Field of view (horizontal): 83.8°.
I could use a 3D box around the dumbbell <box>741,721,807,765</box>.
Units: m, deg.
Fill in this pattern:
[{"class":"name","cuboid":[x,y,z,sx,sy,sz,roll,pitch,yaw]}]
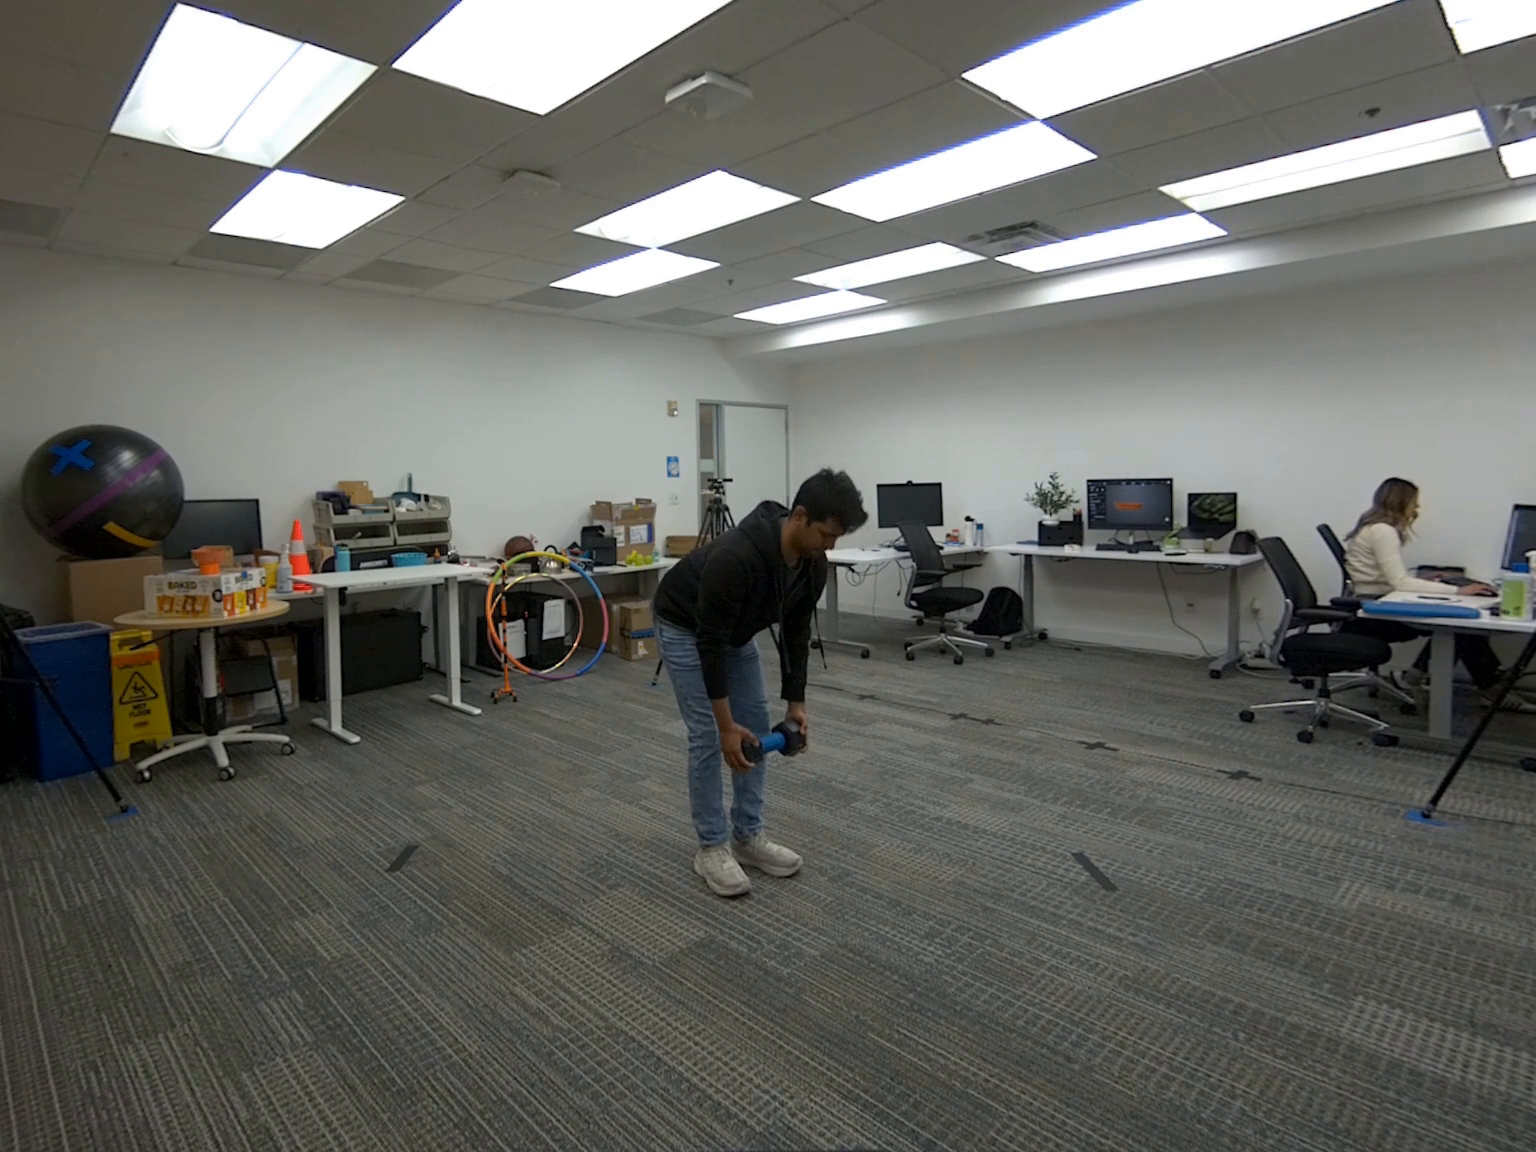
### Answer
[{"class":"dumbbell","cuboid":[-0.010,0.578,2.917,0.286,0.111,0.123,-7,-26,-42]}]
